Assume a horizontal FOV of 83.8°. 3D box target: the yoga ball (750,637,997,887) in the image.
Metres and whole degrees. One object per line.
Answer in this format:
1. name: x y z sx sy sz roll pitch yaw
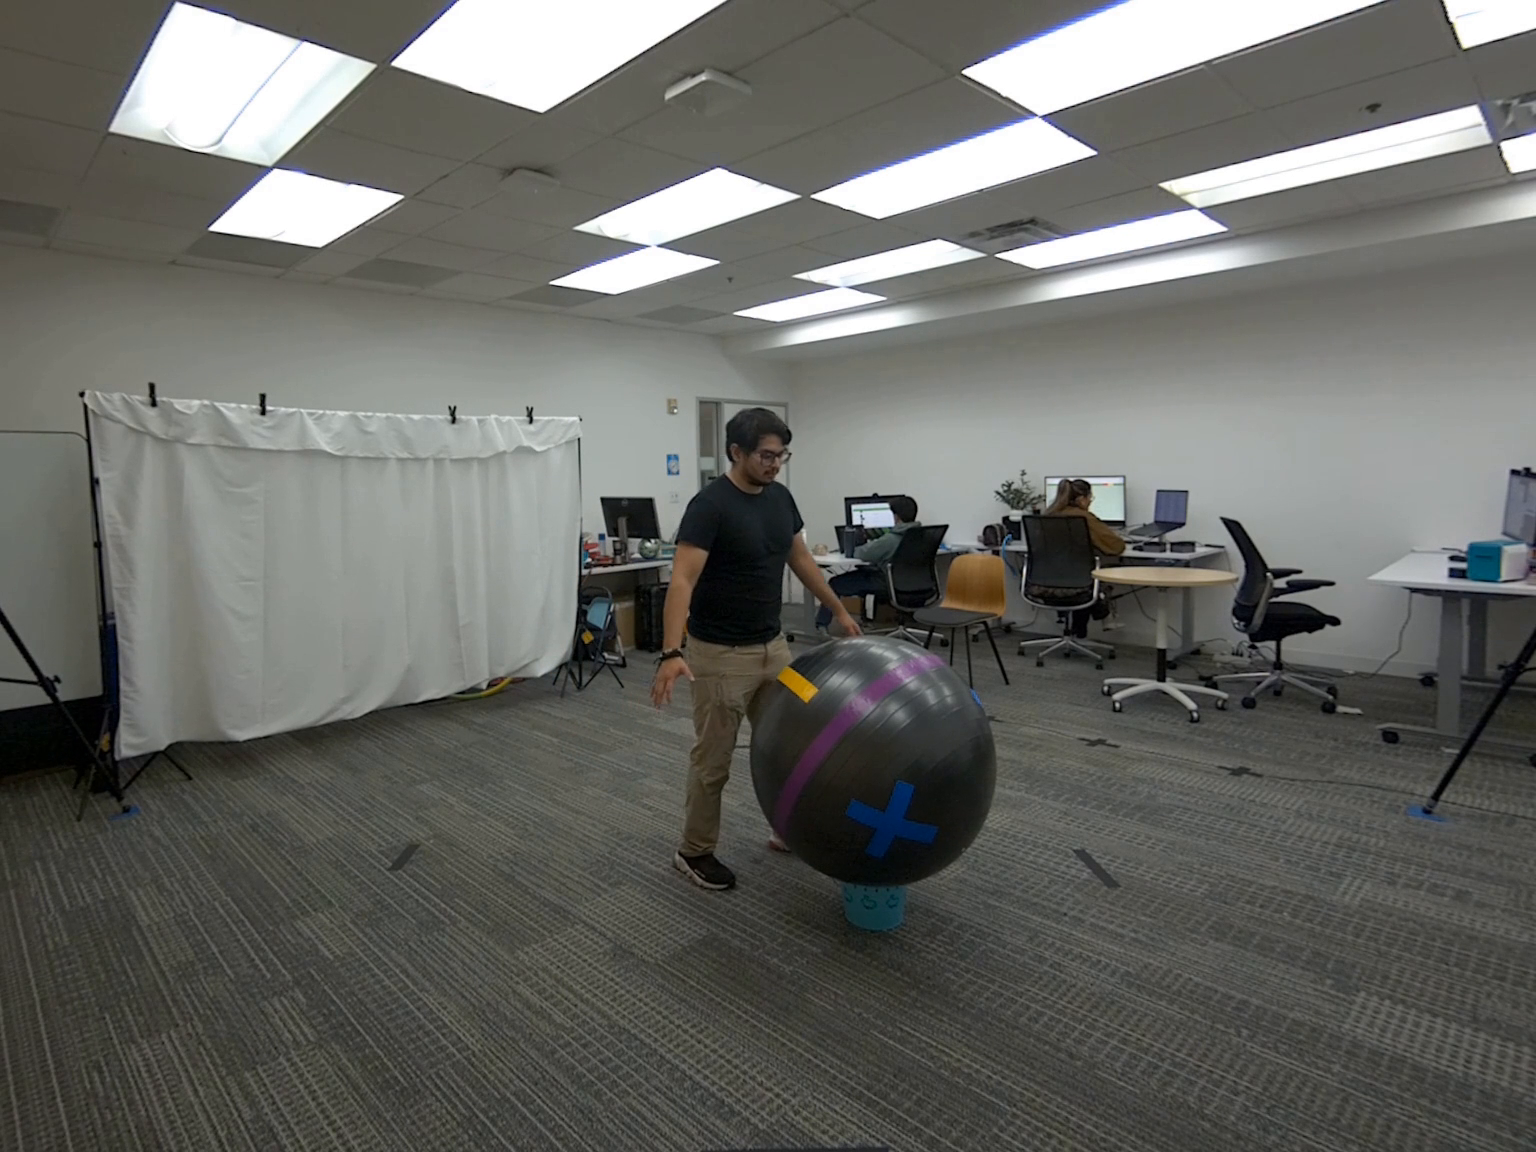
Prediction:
1. yoga ball: 0.329 0.577 2.663 0.757 0.755 0.762 -1 5 -2
